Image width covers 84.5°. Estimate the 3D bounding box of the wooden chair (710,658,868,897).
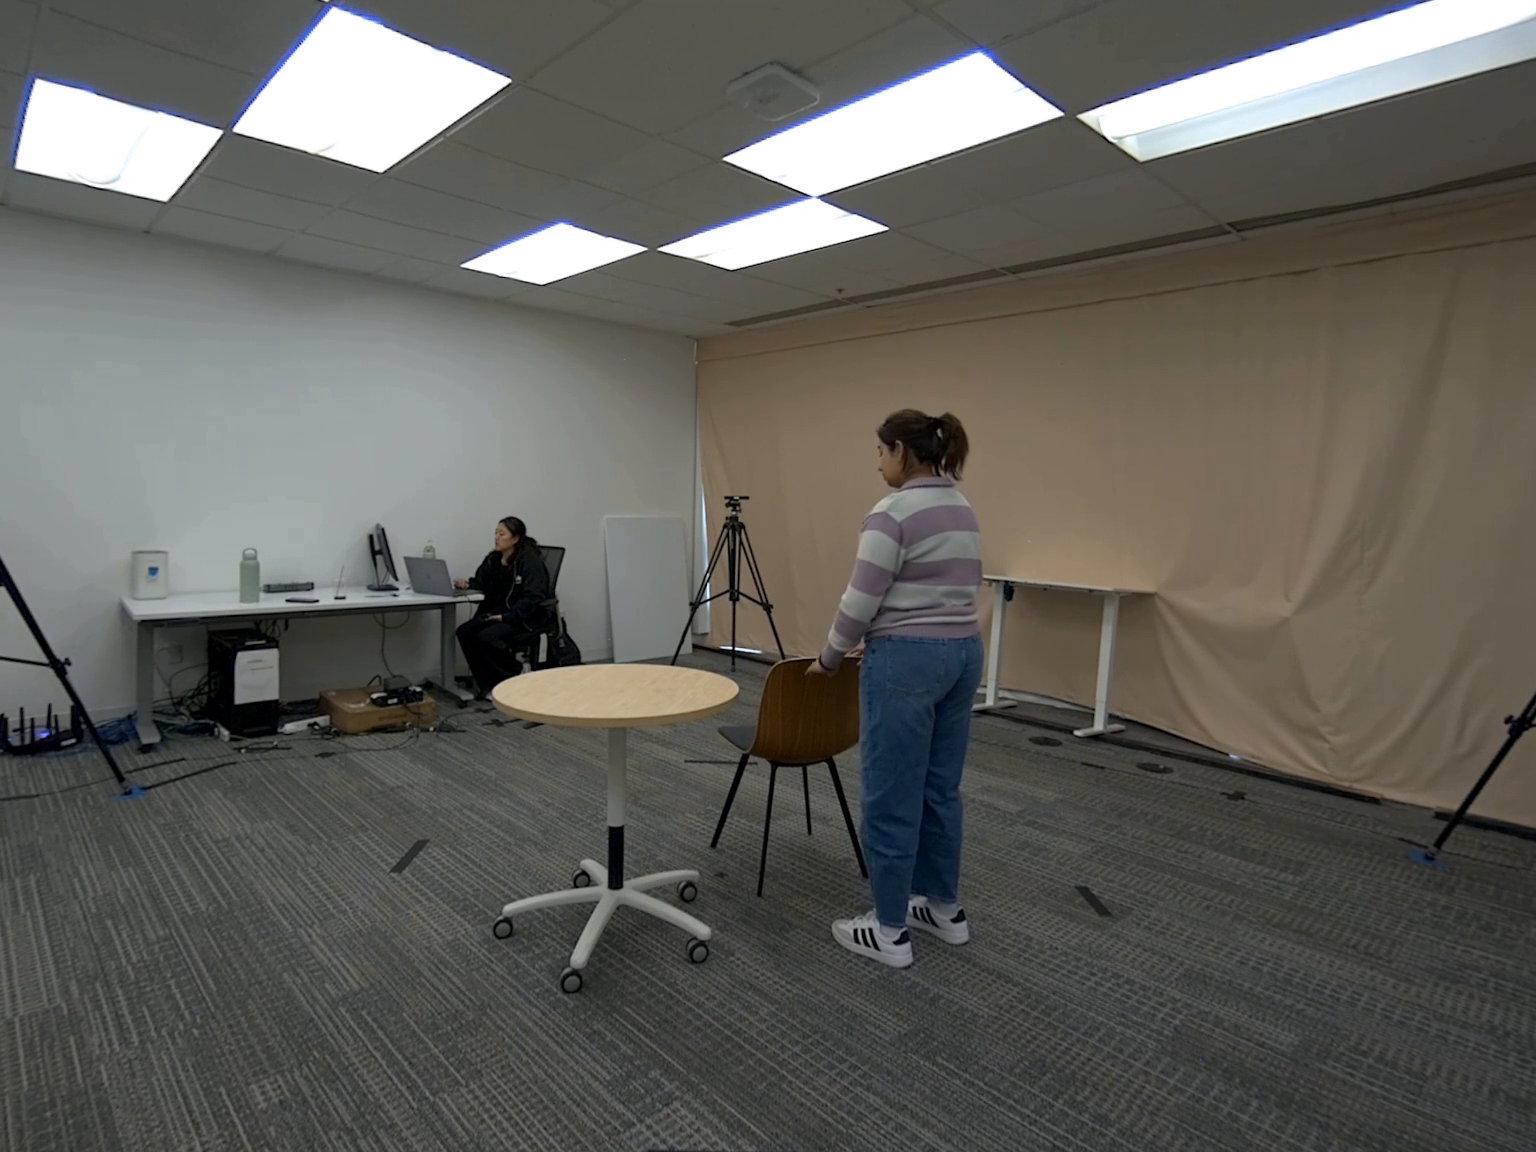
[{"bbox_3d":[0.073,0.671,3.205,0.470,0.873,0.535,0,8,-24],"label":"wooden chair"}]
